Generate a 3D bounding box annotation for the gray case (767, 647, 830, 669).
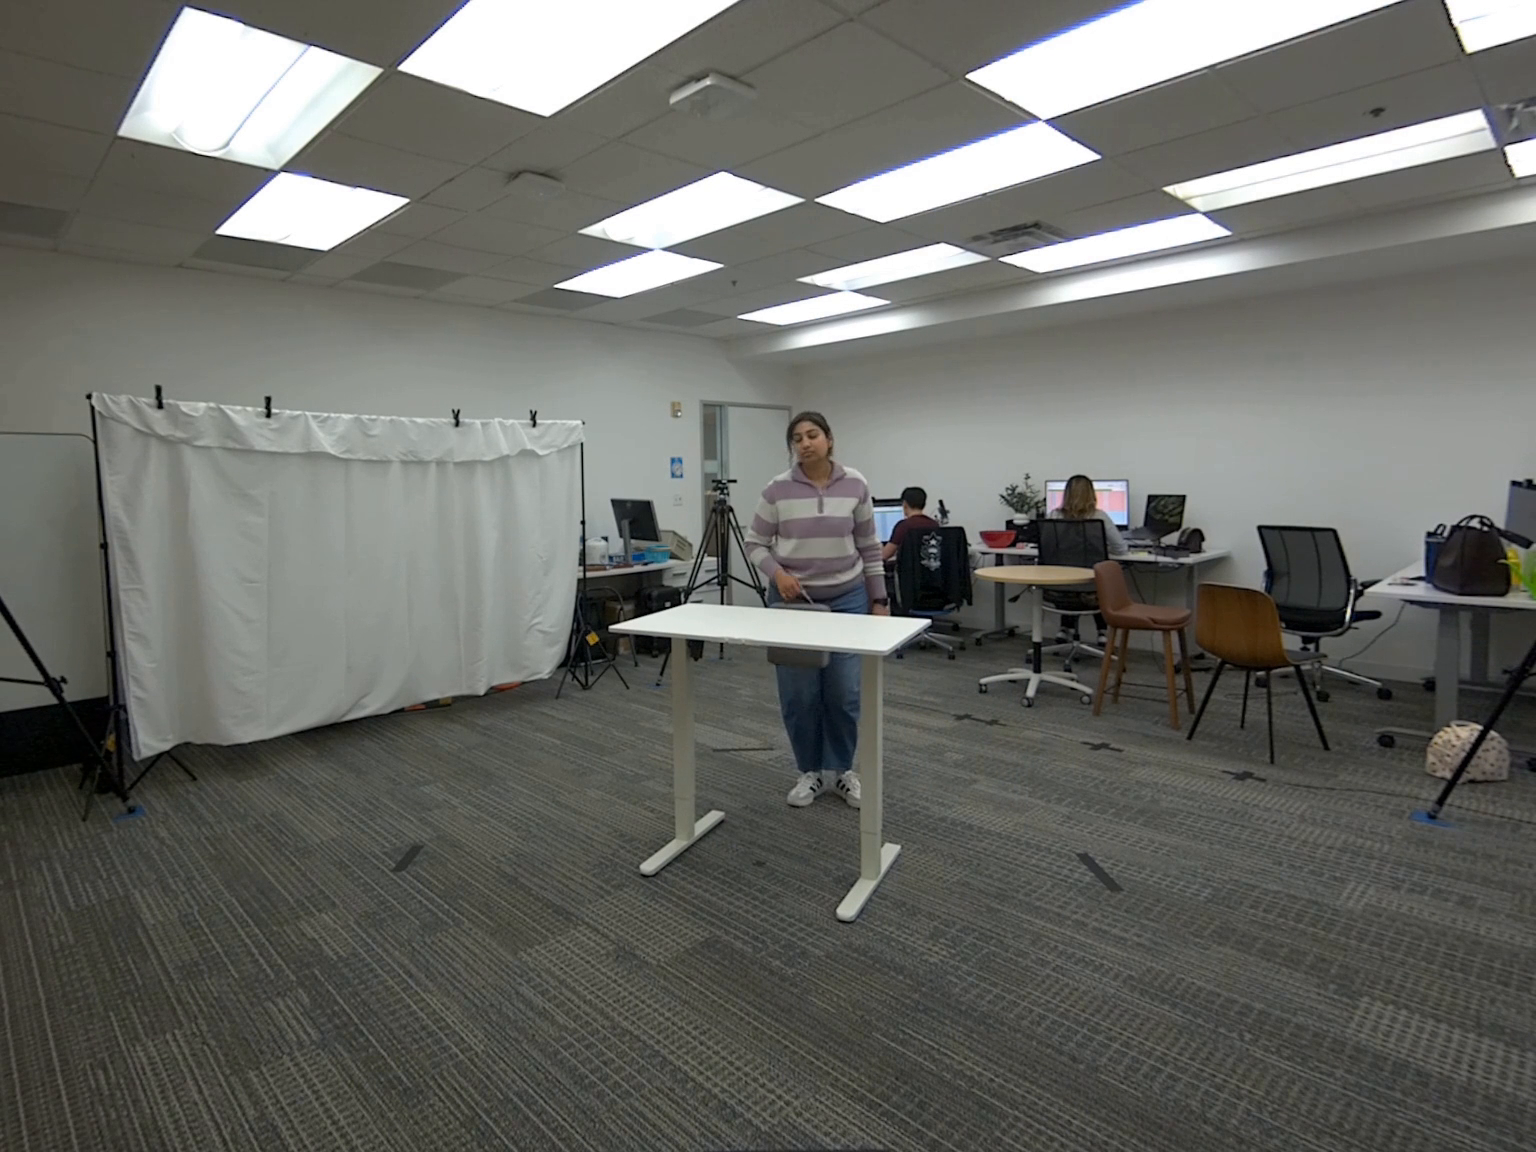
[{"bbox_3d":[0.134,0.246,3.493,0.262,0.261,0.102,-1,-2,21],"label":"gray case"}]
